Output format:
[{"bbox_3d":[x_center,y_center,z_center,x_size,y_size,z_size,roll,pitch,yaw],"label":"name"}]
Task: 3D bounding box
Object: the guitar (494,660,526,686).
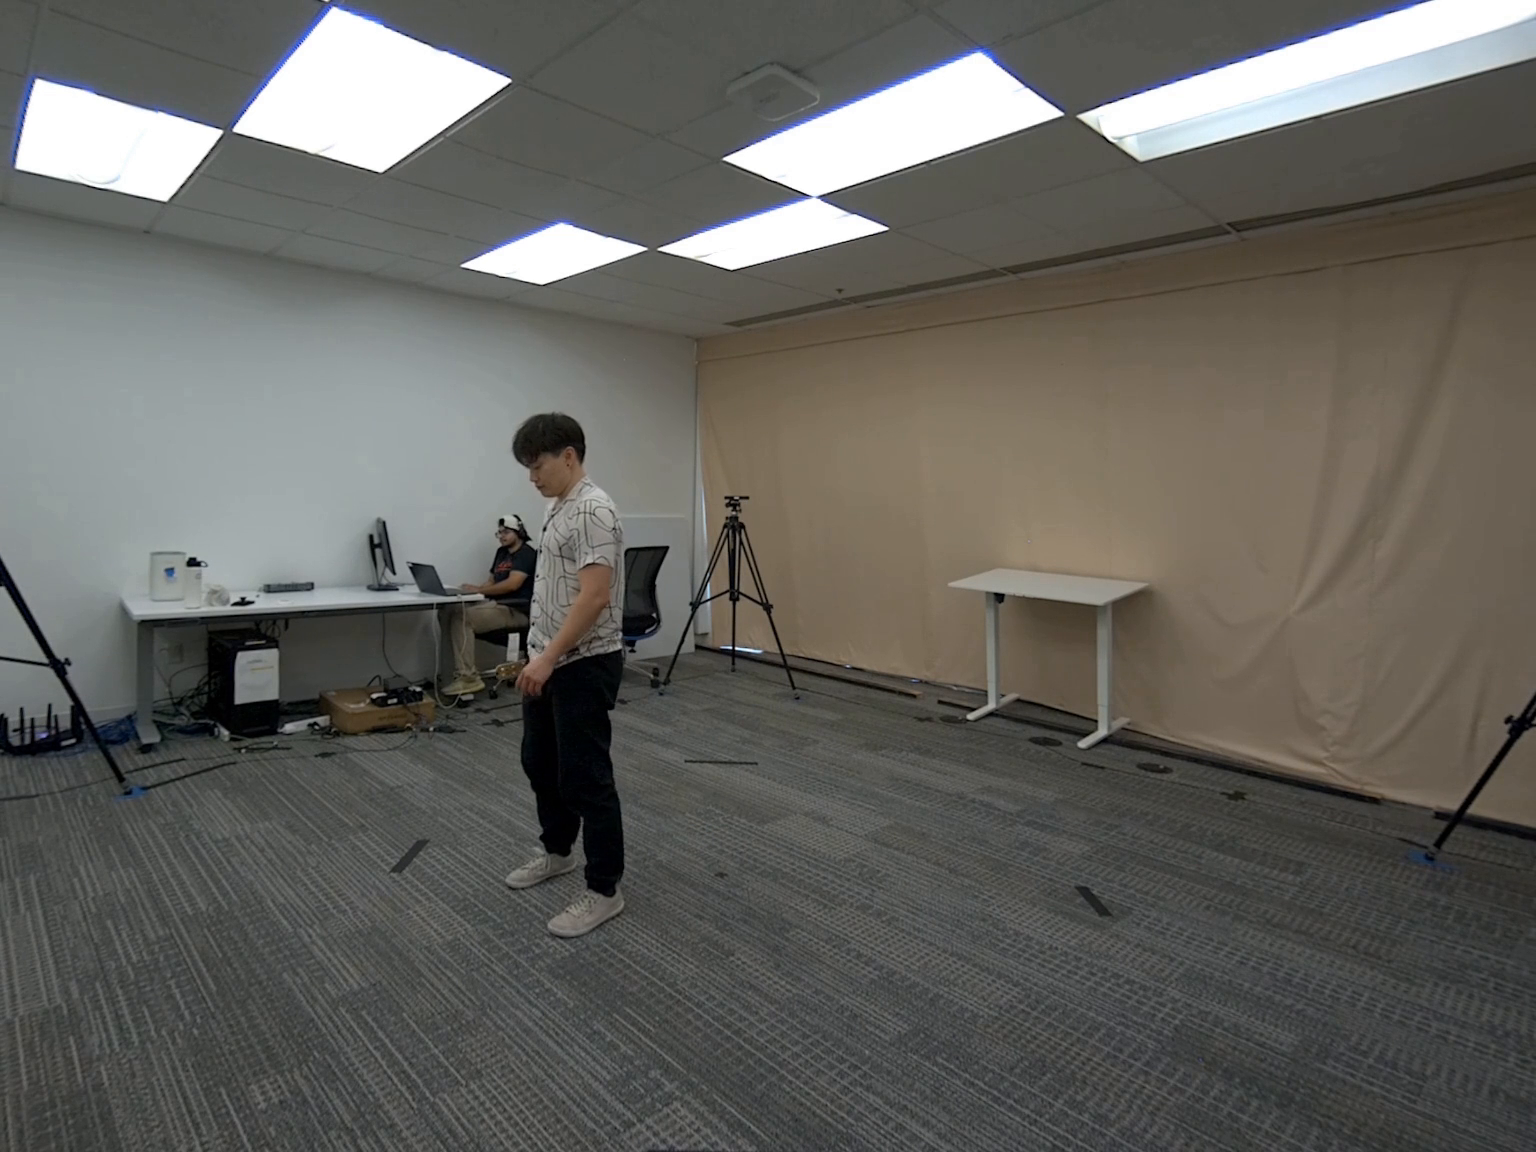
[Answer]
[{"bbox_3d":[-0.812,0.289,3.198,0.489,0.193,0.072,-2,-1,-24],"label":"guitar"}]
